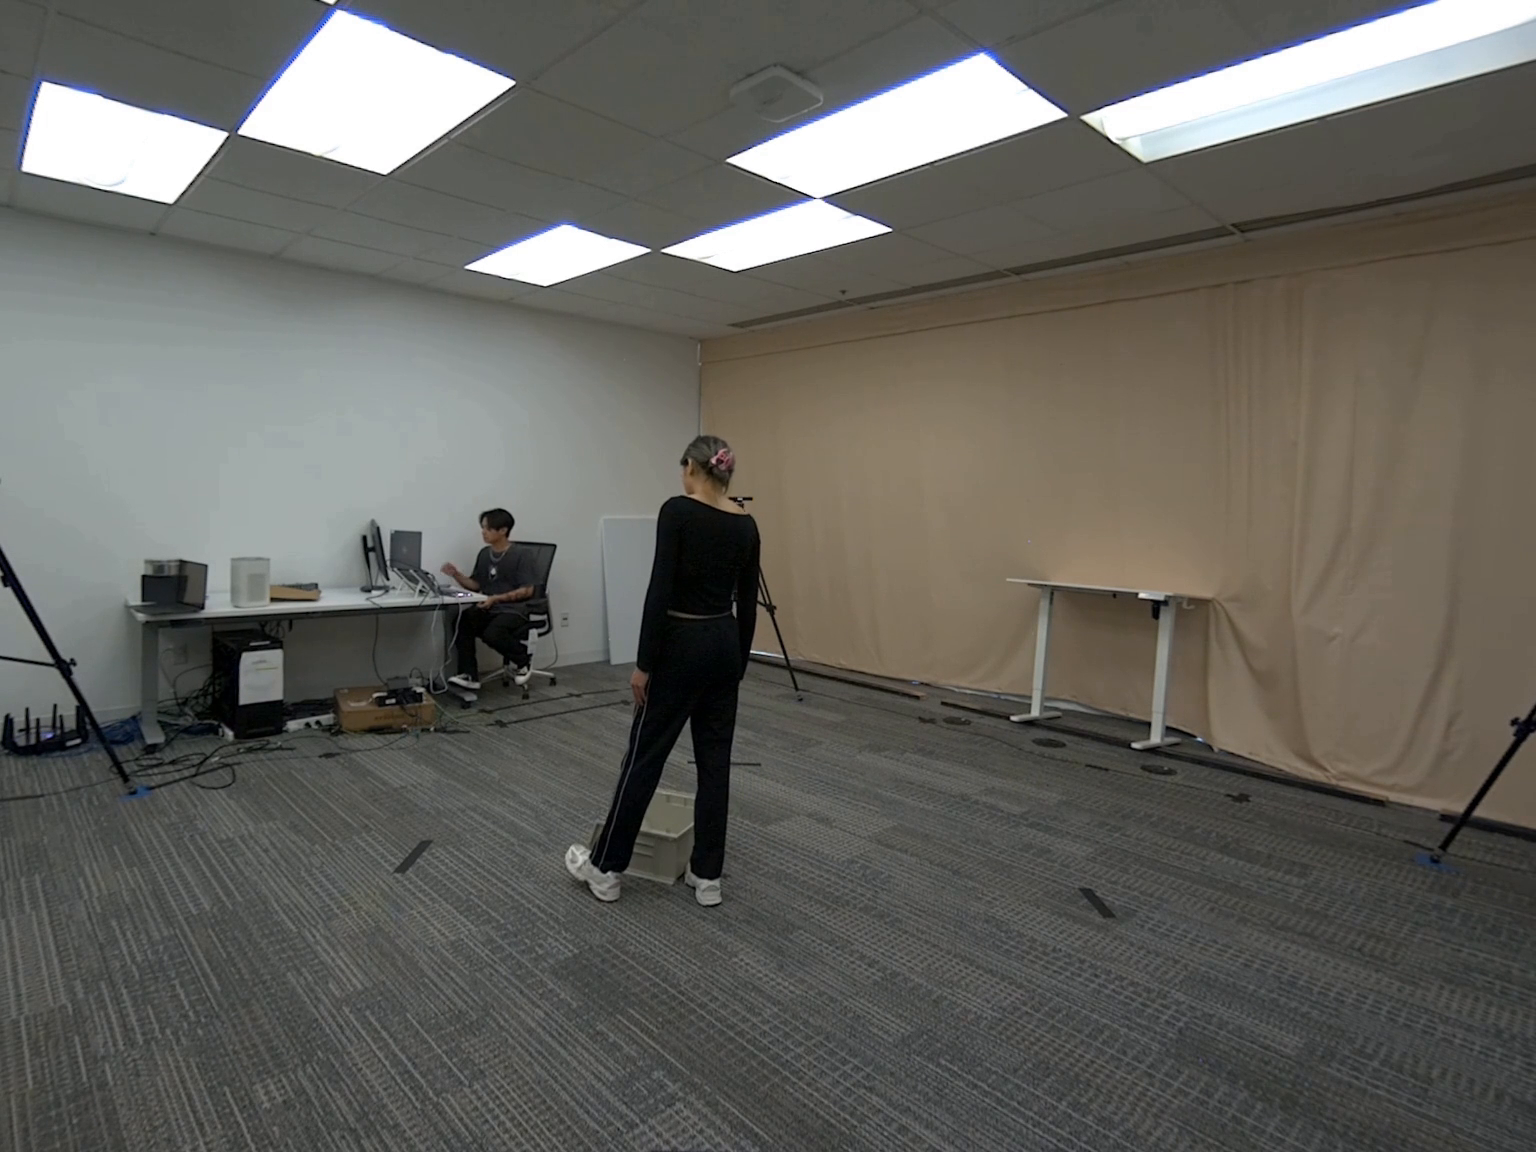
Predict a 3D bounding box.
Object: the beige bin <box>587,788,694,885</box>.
[{"bbox_3d":[-0.432,1.003,3.278,0.384,0.188,0.415,4,5,23],"label":"beige bin"}]
